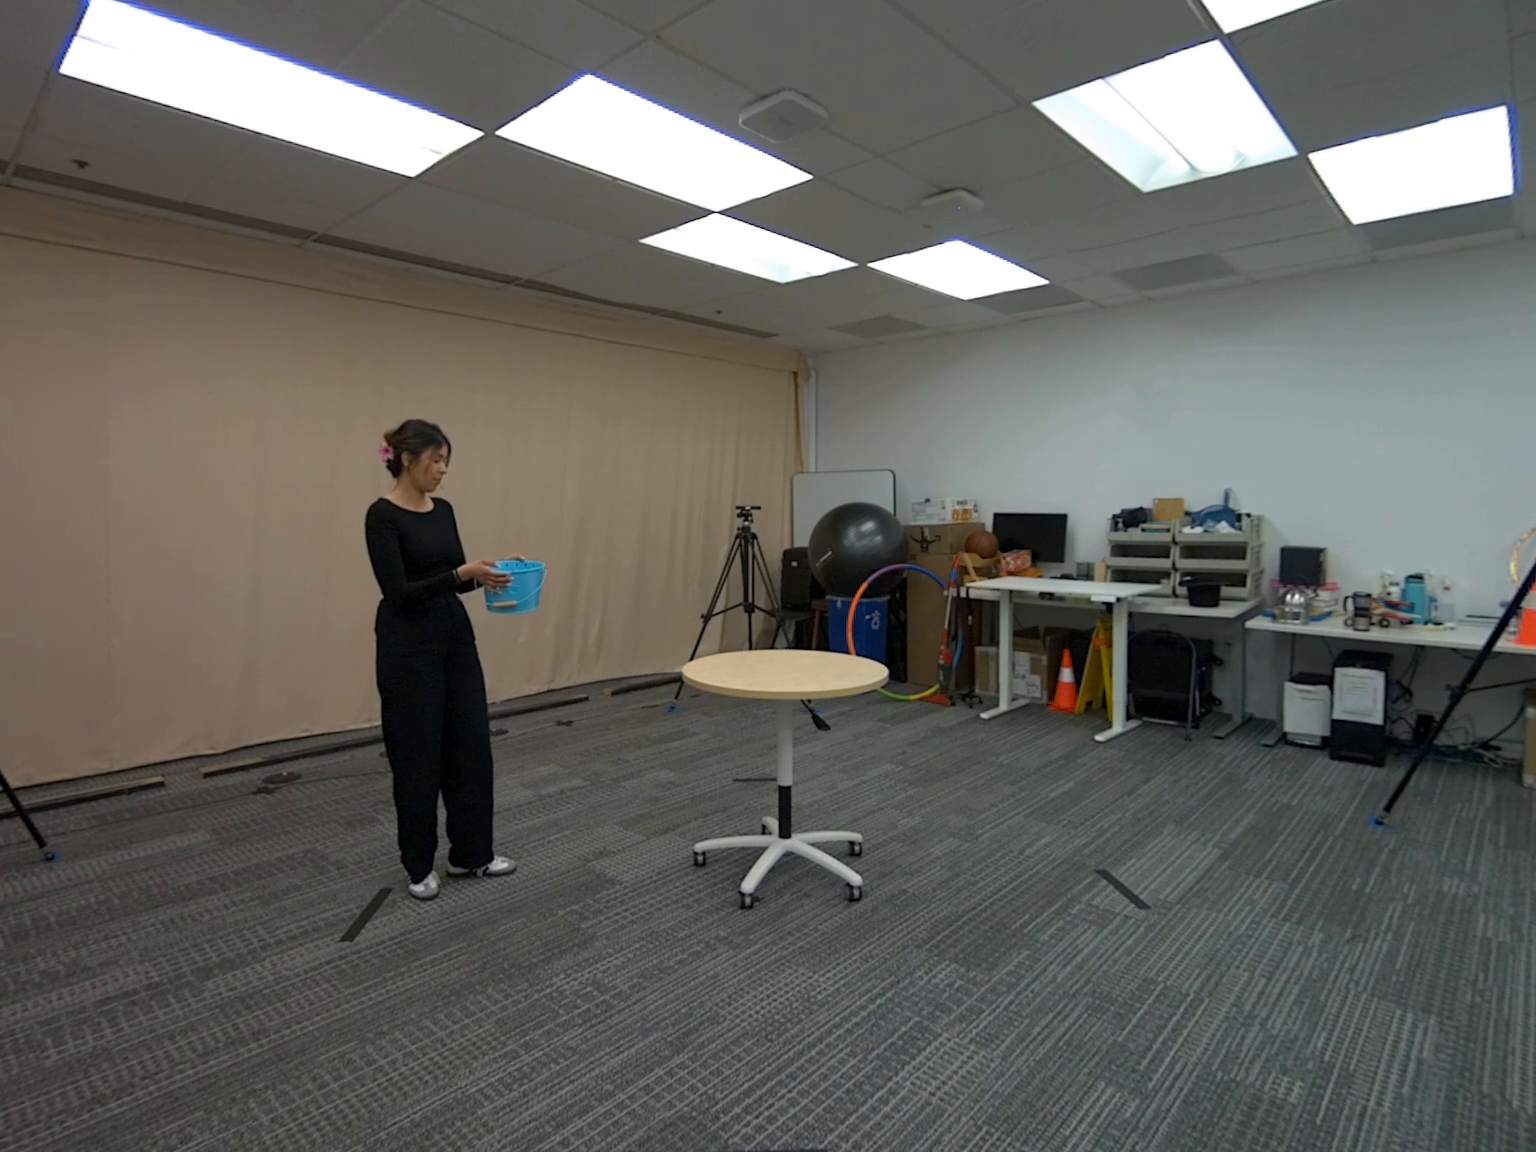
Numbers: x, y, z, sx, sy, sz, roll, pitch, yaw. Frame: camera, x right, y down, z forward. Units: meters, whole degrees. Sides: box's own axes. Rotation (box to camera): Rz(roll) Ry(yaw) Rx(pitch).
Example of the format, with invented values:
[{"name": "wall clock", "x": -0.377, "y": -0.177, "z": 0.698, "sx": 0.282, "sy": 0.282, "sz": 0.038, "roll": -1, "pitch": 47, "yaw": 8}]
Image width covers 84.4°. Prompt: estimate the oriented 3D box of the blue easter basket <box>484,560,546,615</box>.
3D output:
[{"name": "blue easter basket", "x": -0.926, "y": 0.043, "z": 2.976, "sx": 0.243, "sy": 0.155, "sz": 0.245, "roll": -1, "pitch": 10, "yaw": -2}]
